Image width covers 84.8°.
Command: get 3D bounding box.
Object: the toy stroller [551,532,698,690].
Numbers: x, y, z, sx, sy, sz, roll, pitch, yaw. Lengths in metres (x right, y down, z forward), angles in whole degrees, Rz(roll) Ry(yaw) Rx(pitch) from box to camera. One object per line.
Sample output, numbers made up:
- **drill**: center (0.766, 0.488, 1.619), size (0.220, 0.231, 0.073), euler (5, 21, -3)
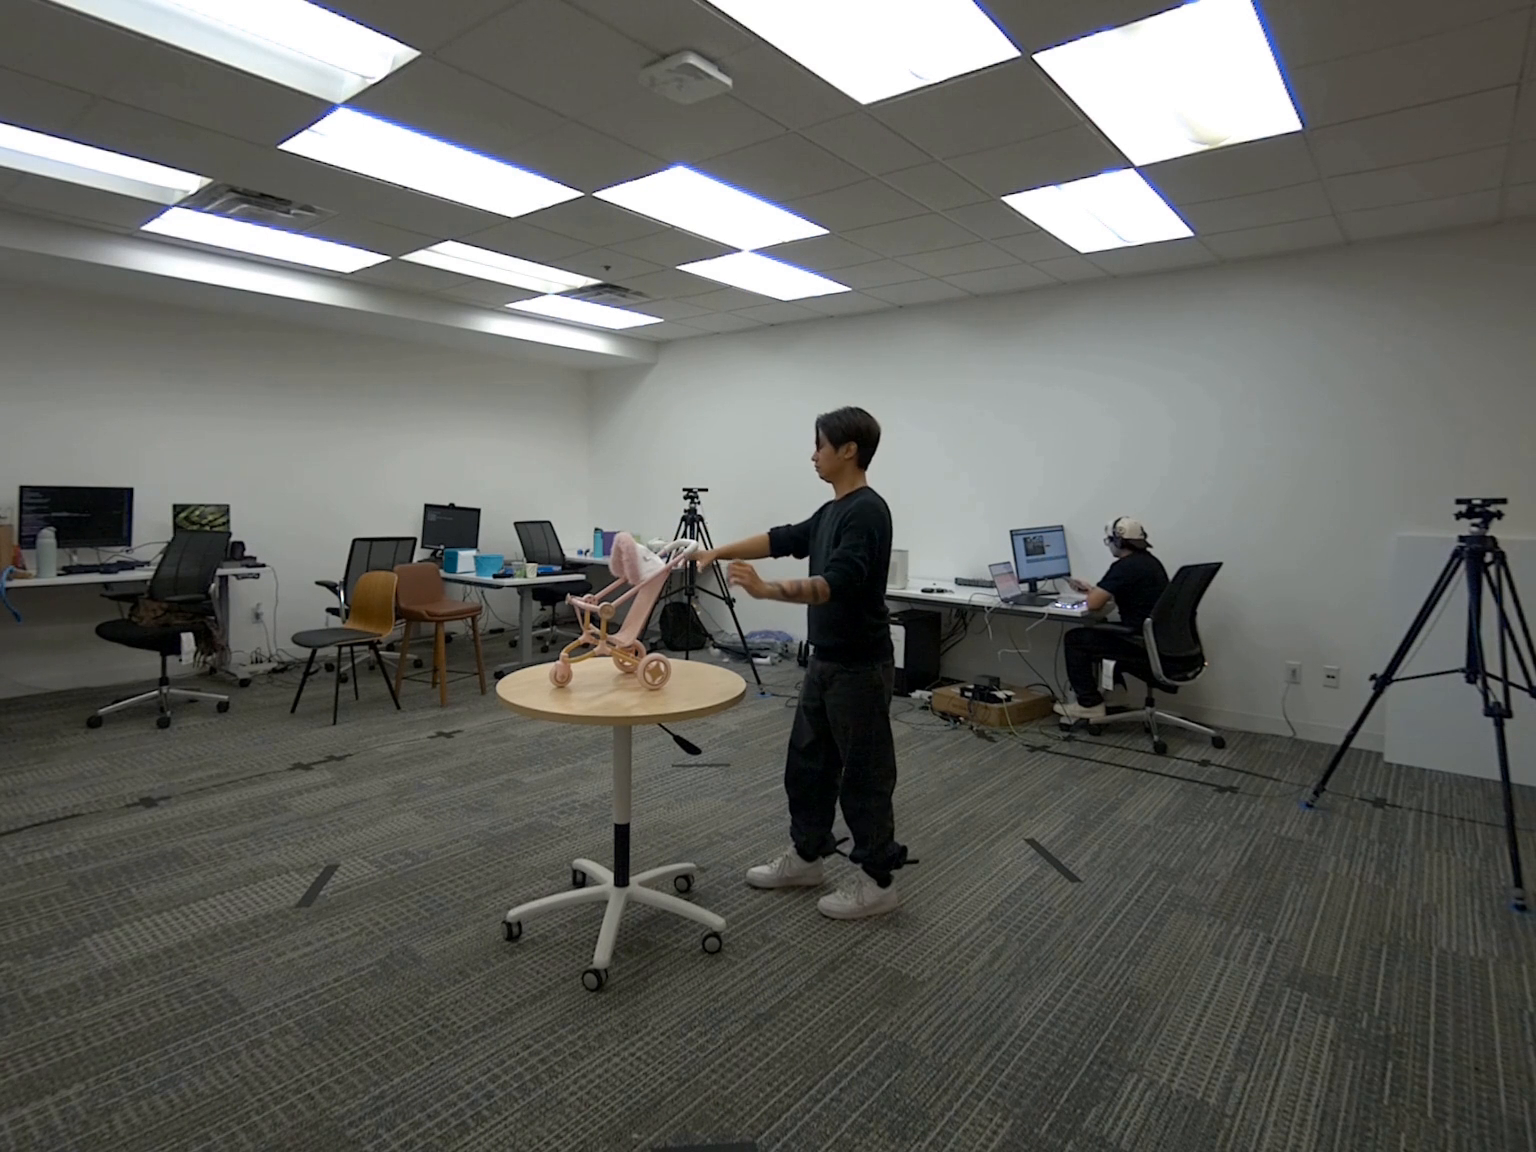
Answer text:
- **toy stroller**: center (-0.470, 0.104, 2.627), size (0.333, 0.535, 0.288), euler (15, -1, -20)
